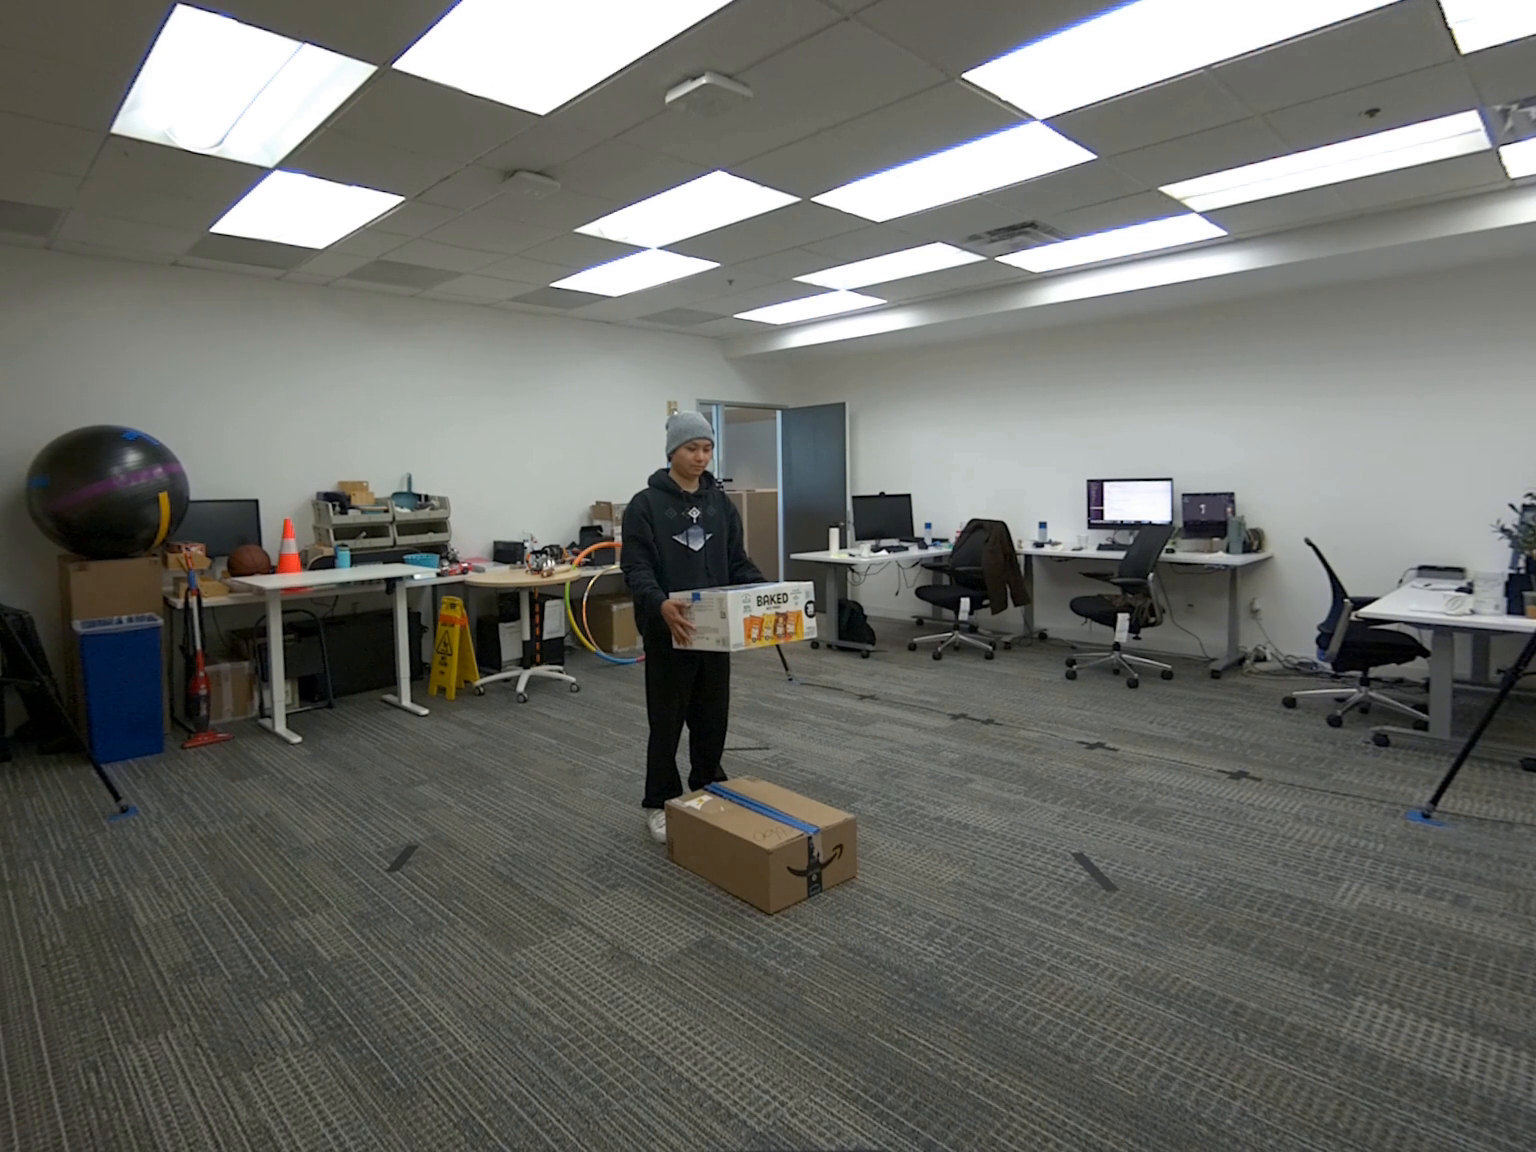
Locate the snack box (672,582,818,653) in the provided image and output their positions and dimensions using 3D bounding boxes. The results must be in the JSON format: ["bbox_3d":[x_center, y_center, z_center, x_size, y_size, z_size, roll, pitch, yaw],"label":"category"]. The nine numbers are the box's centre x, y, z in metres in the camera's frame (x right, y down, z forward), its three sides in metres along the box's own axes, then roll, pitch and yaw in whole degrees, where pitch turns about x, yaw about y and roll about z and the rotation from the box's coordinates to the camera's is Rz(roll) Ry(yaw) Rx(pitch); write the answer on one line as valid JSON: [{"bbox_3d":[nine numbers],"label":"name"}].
[{"bbox_3d":[-0.087,0.142,3.082,0.394,0.206,0.349,-5,1,-40],"label":"snack box"}]
